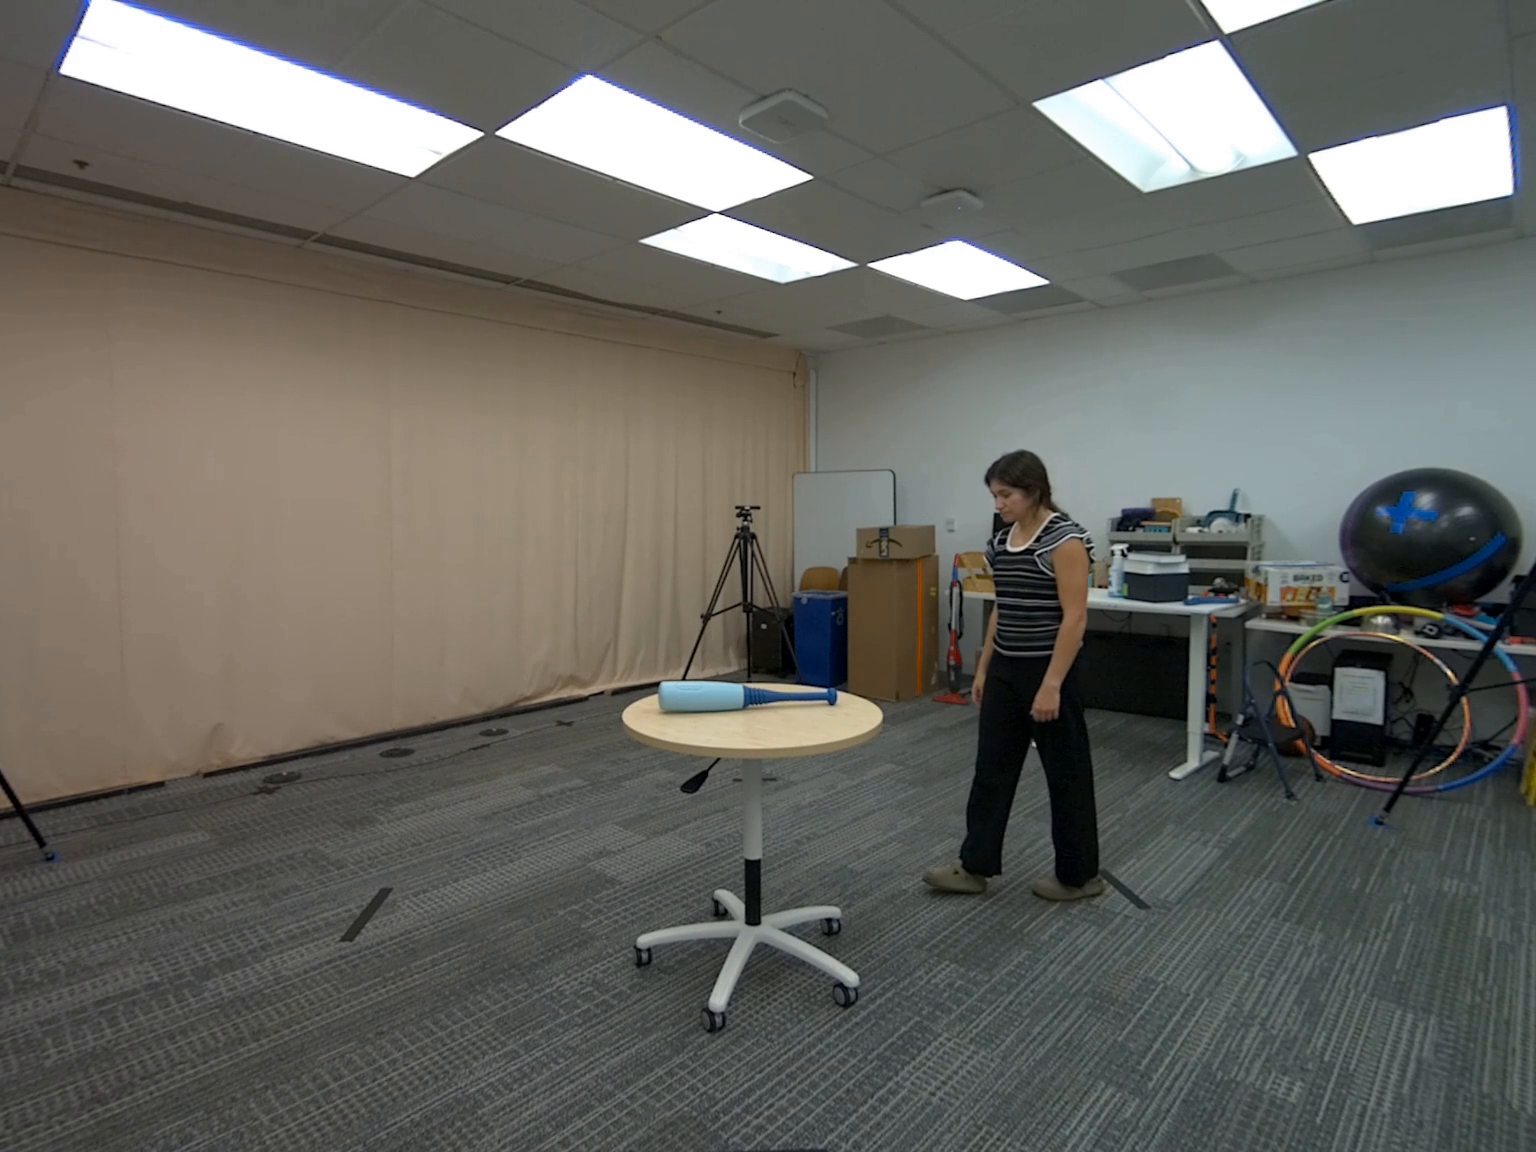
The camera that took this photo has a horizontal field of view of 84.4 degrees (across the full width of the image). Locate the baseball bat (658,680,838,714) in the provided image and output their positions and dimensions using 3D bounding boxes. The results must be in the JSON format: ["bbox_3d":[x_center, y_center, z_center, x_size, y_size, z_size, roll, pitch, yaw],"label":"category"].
[{"bbox_3d":[-0.042,0.360,2.523,0.538,0.089,0.090,1,3,-8],"label":"baseball bat"}]
